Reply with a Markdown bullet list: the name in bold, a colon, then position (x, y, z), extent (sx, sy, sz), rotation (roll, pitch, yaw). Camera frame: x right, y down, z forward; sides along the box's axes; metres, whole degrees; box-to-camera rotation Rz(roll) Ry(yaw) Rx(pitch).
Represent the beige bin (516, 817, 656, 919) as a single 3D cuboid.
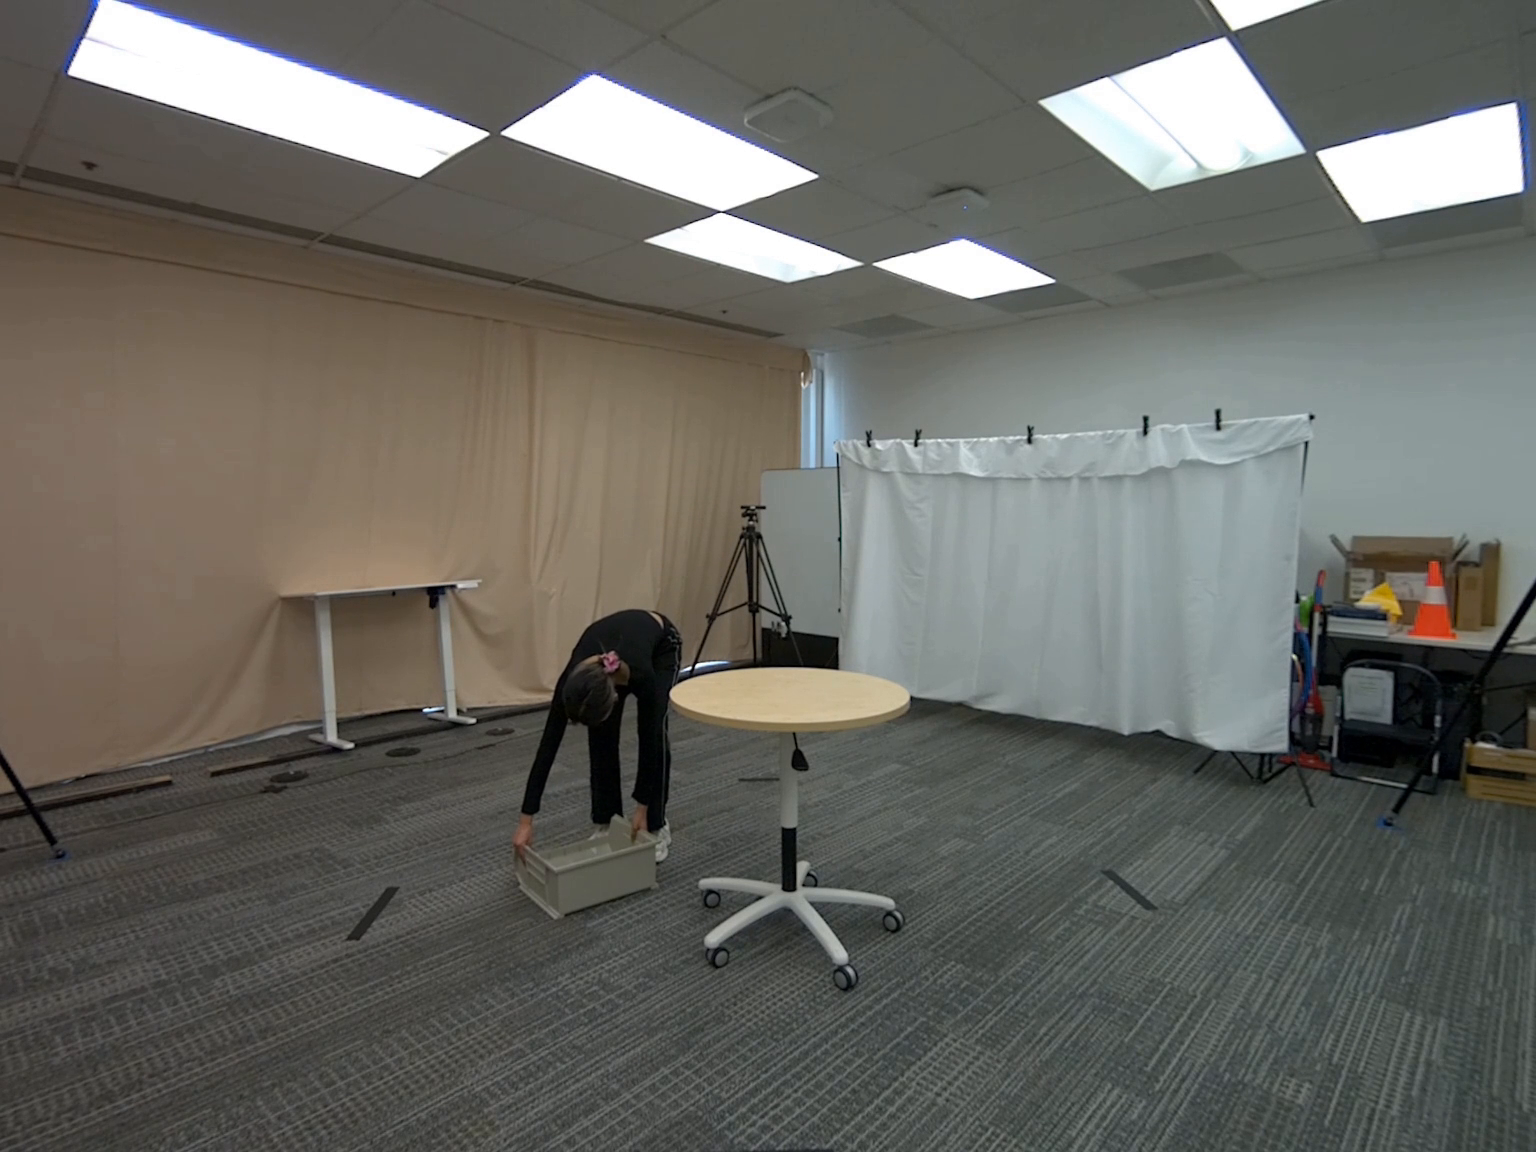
- **beige bin**: position (-0.674, 1.047, 3.094), extent (0.409, 0.188, 0.390), rotation (-2, 5, -38)
